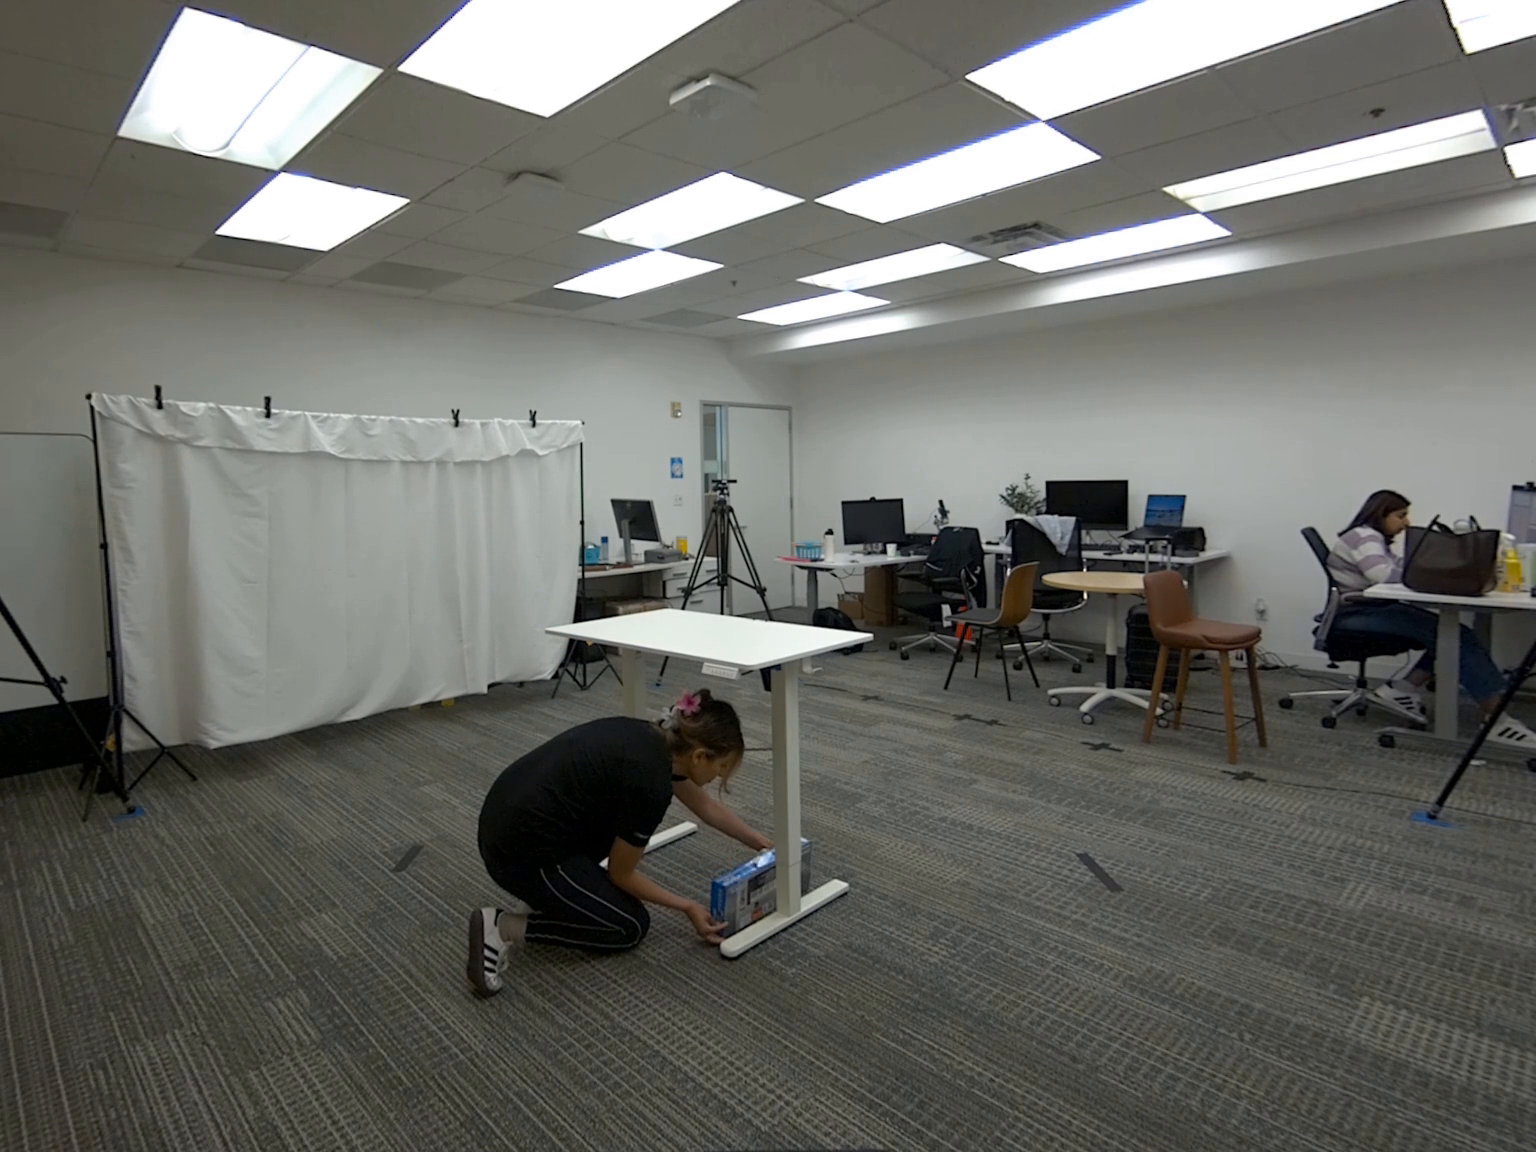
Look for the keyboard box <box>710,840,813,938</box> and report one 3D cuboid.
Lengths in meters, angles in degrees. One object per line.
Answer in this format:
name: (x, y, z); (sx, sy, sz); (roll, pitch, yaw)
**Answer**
keyboard box: (-0.008, 1.001, 2.757); (0.061, 0.175, 0.426); (6, 9, 39)
